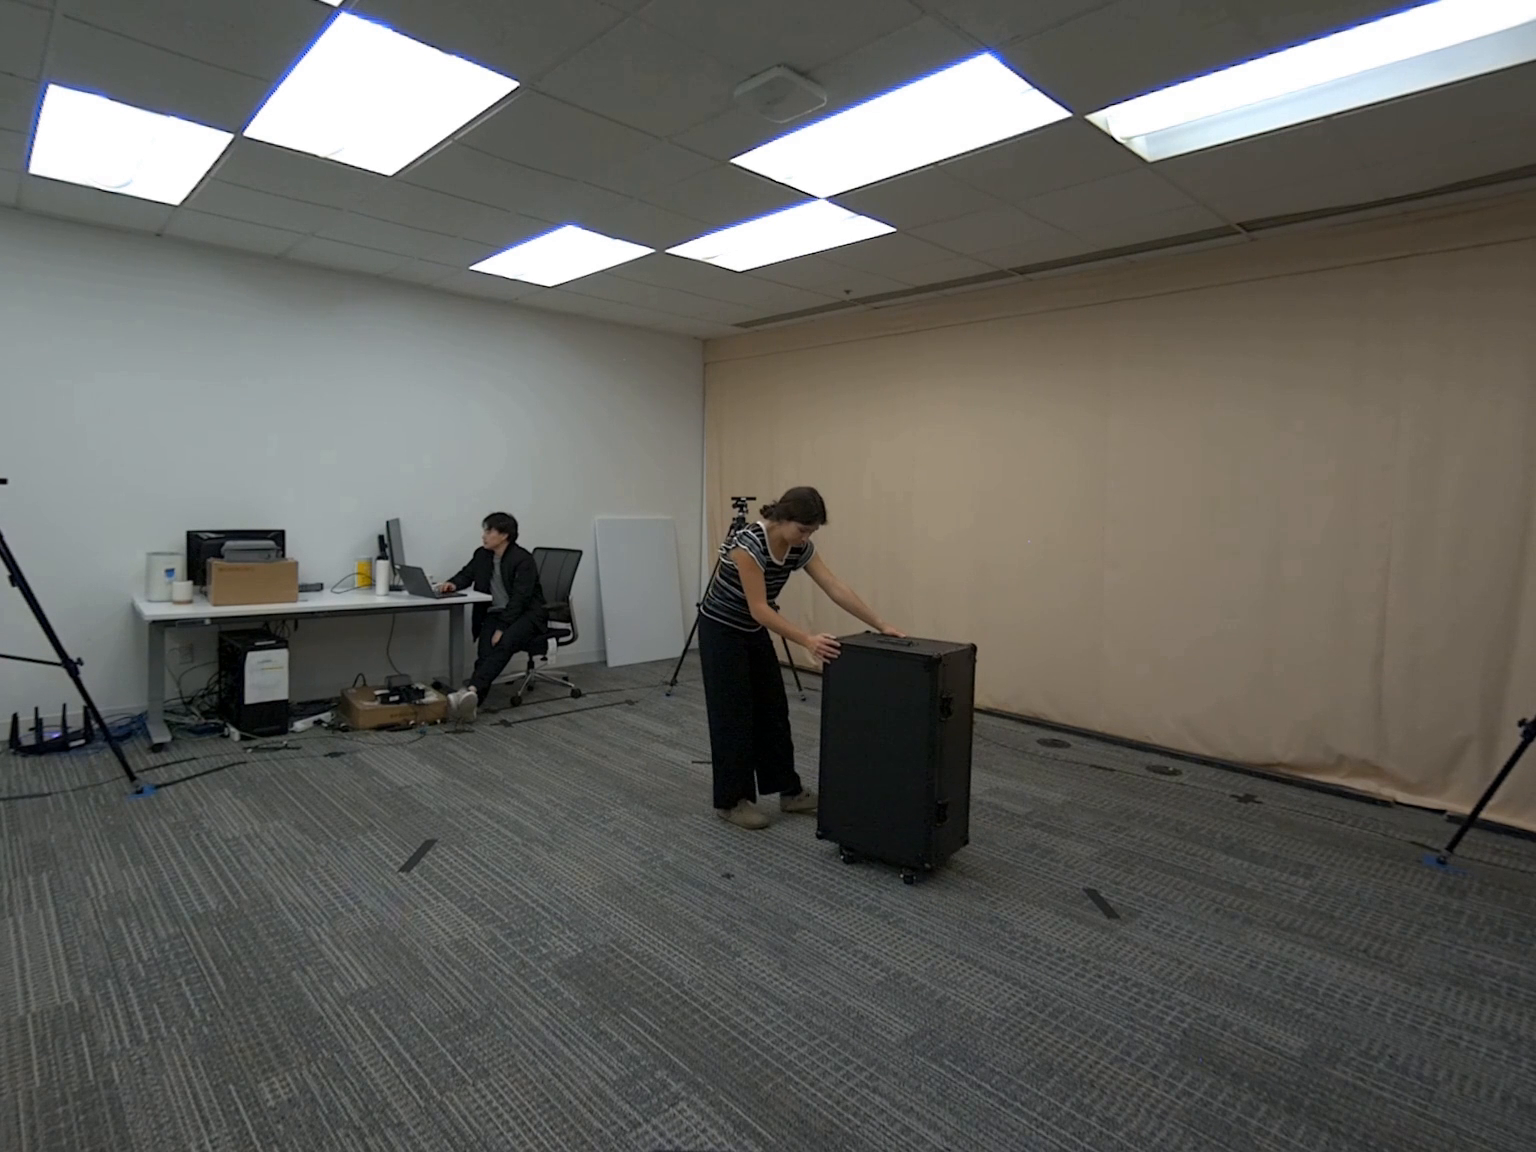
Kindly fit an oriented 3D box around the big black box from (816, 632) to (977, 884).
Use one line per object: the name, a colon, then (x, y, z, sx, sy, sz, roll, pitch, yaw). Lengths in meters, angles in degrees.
big black box: (0.493, 0.684, 3.281, 0.534, 0.860, 0.387, 4, 3, 37)
